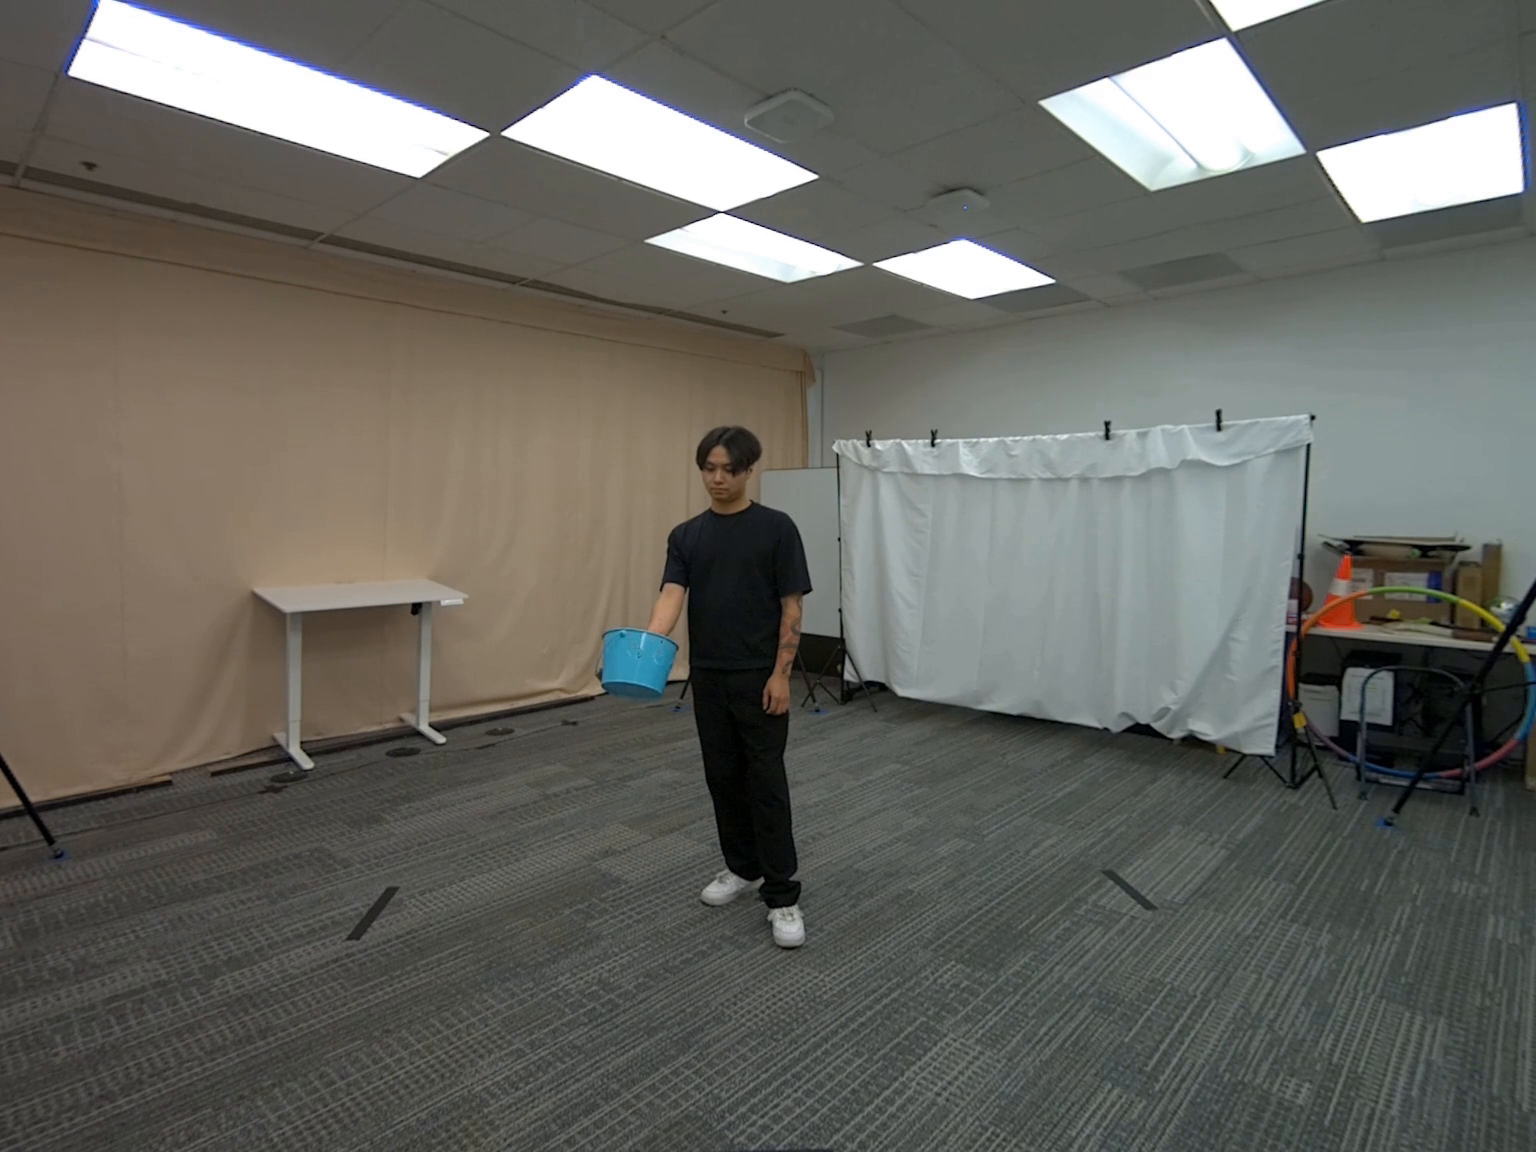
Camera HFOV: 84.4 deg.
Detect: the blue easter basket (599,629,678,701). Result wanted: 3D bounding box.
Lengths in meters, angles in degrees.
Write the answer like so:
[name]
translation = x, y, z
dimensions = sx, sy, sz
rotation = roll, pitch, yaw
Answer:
[blue easter basket]
translation = -0.402, 0.287, 2.496
dimensions = 0.244, 0.157, 0.240
rotation = 8, -23, 1
